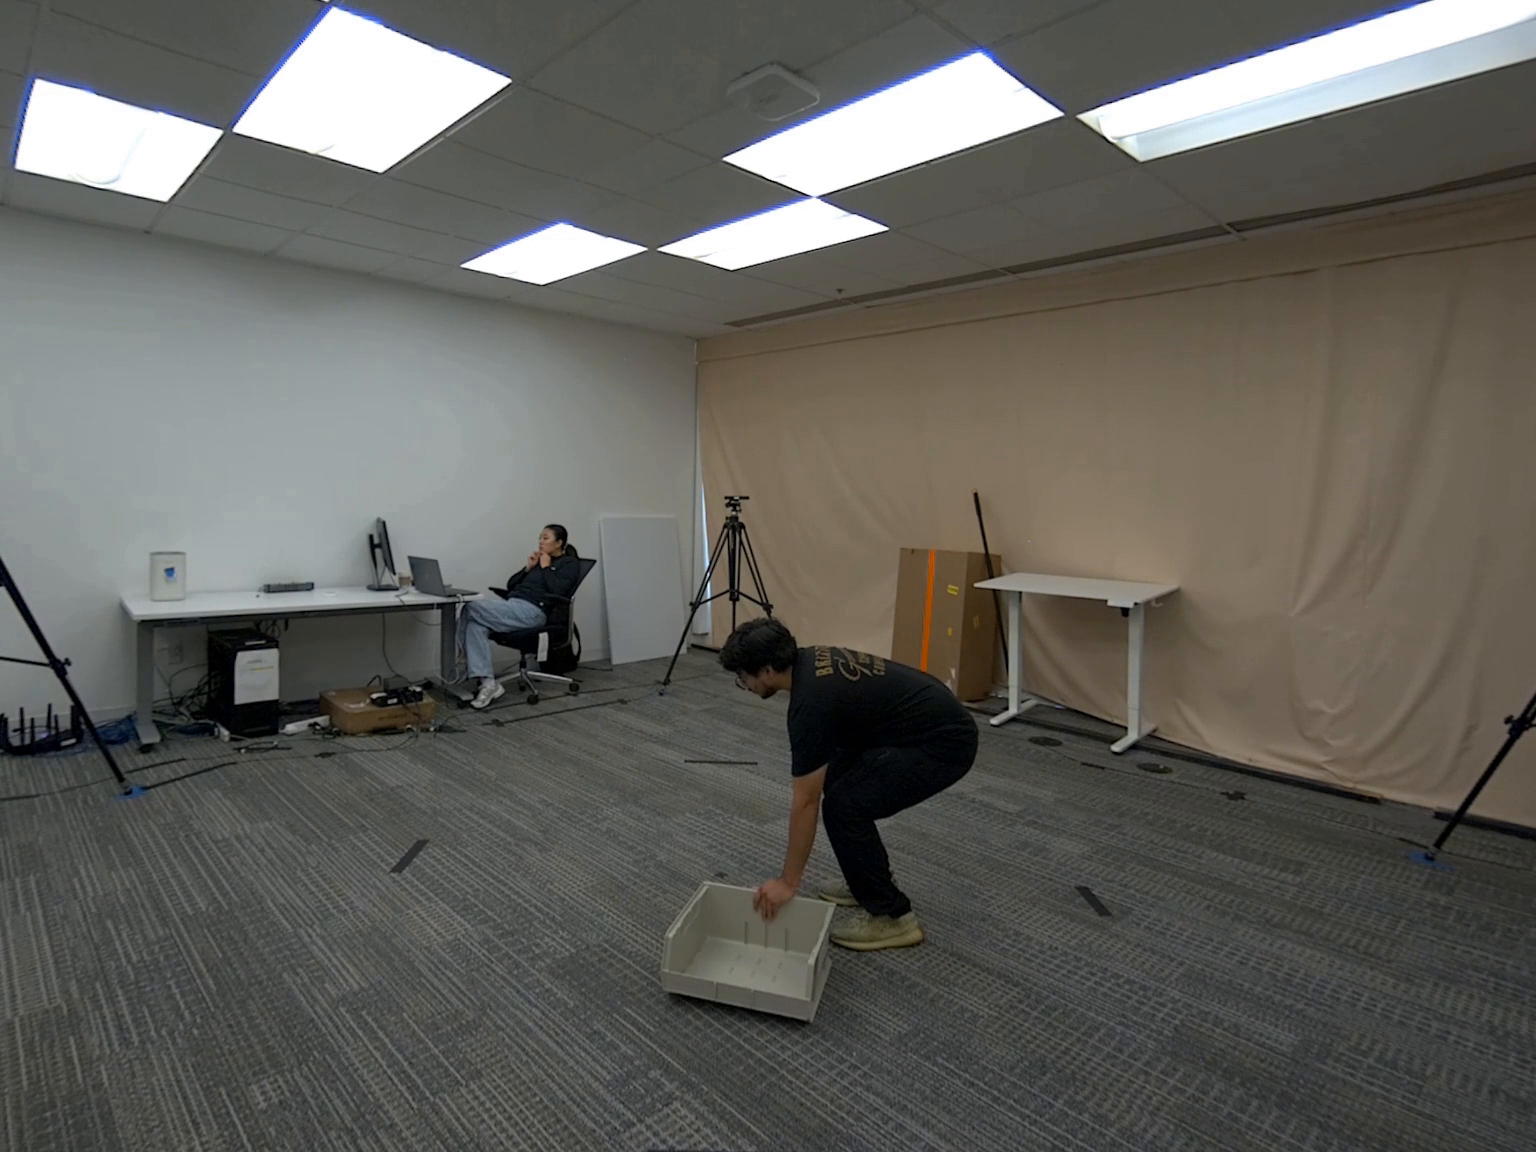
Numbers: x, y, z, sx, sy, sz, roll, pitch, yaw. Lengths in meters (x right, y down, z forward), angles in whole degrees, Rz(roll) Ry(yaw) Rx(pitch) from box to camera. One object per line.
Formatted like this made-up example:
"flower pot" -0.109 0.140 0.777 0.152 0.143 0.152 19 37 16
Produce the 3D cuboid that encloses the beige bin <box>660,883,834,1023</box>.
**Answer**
"beige bin" -0.048 1.084 2.416 0.428 0.188 0.373 2 3 15
